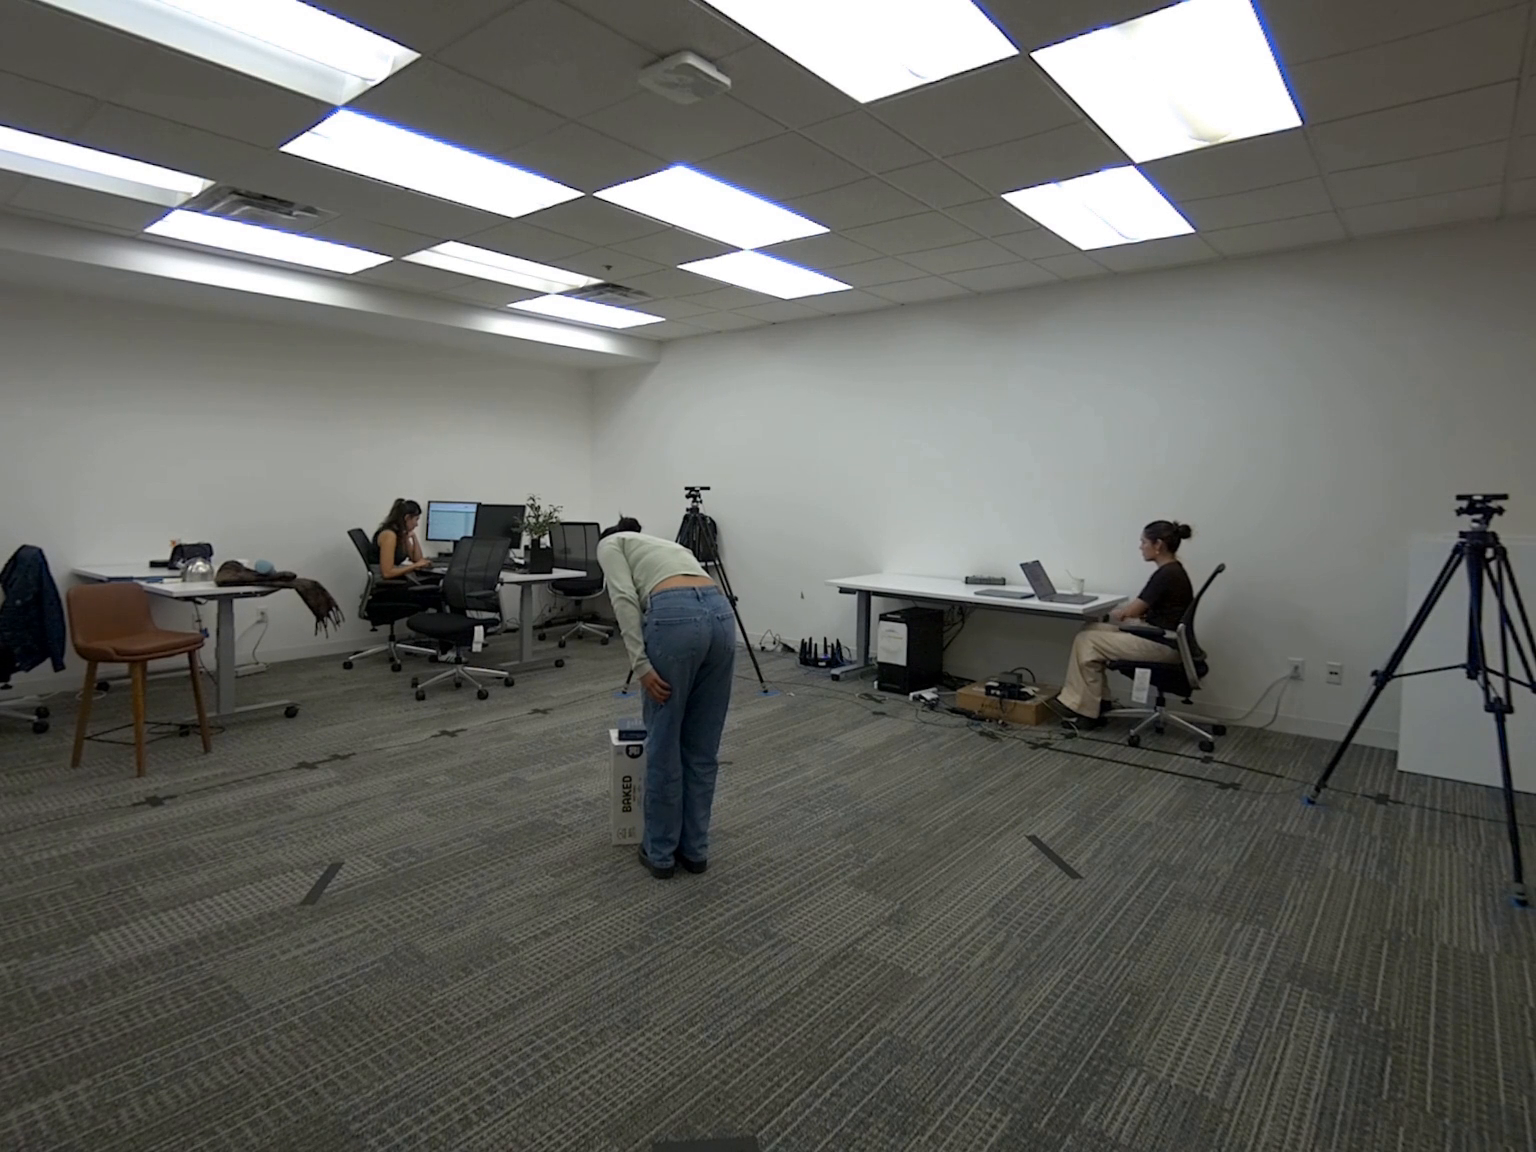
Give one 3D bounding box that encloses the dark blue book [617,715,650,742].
[{"bbox_3d":[-0.484,0.609,3.382,0.244,0.045,0.164,1,5,-4],"label":"dark blue book"}]
